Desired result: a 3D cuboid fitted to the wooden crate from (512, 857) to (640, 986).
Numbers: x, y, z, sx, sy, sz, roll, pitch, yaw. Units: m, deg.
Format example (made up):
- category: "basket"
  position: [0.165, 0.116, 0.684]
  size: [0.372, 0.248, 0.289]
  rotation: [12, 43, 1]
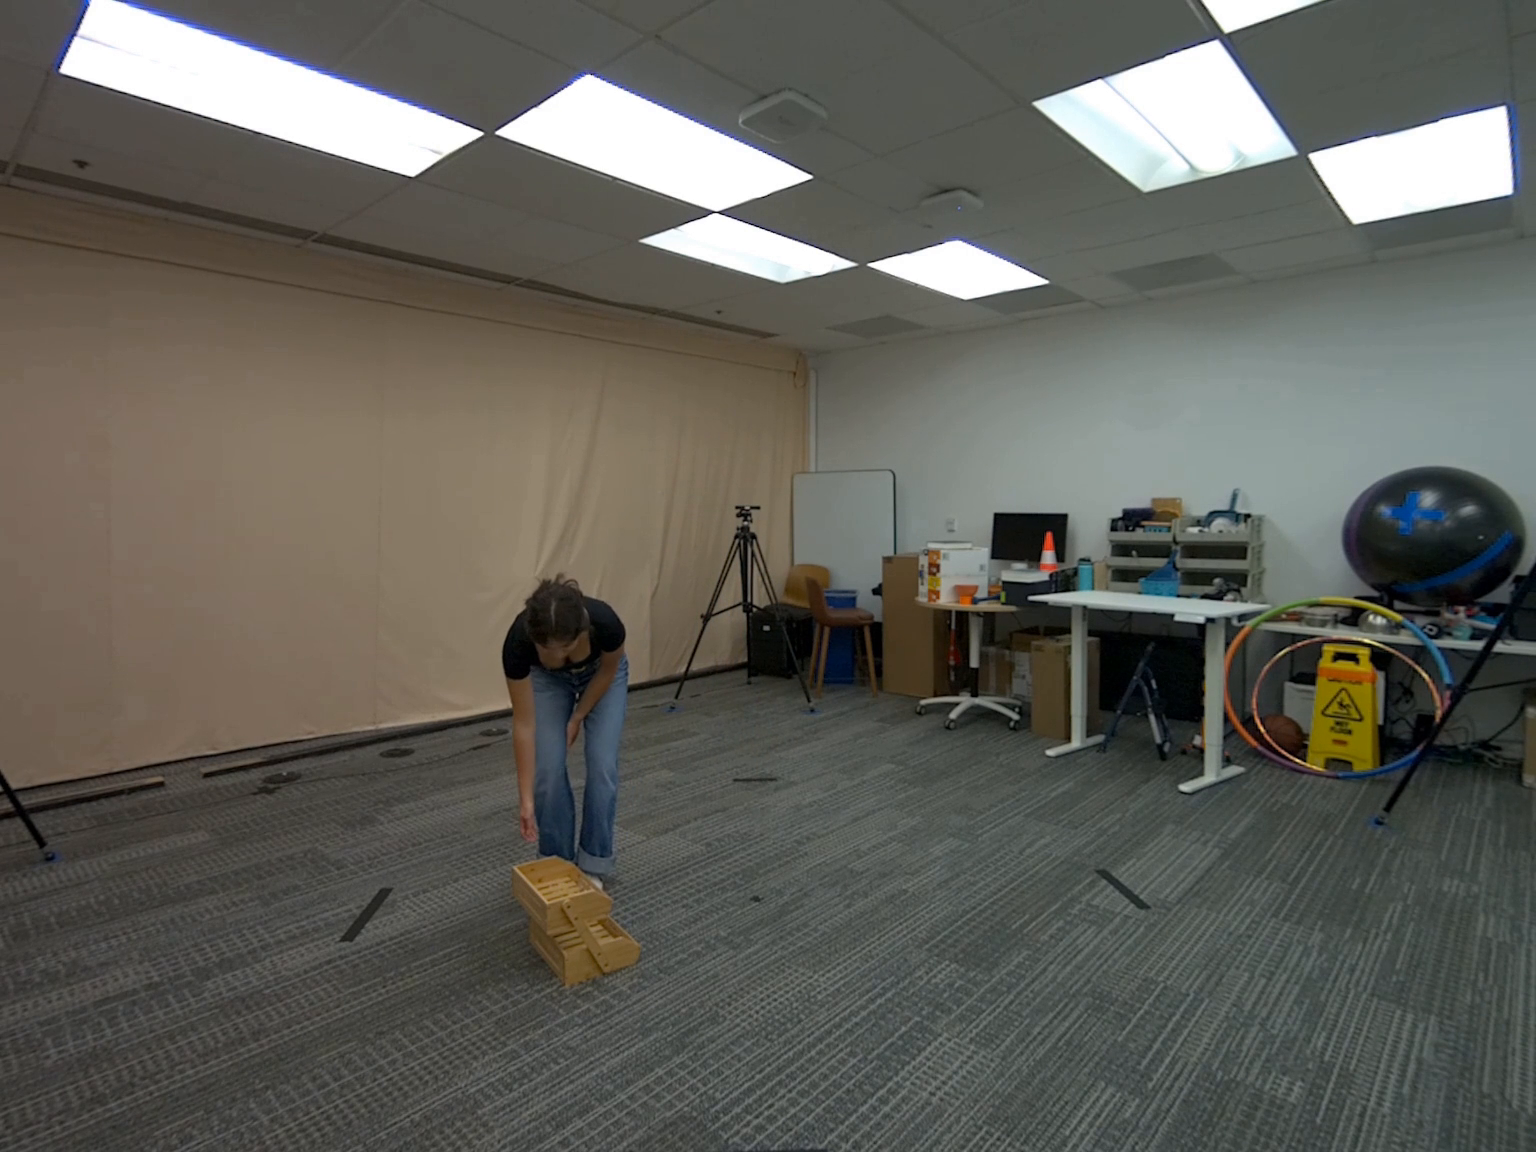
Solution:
- category: "wooden crate"
  position: [-0.598, 1.048, 2.611]
  size: [0.293, 0.273, 0.334]
  rotation: [-4, 5, -35]
